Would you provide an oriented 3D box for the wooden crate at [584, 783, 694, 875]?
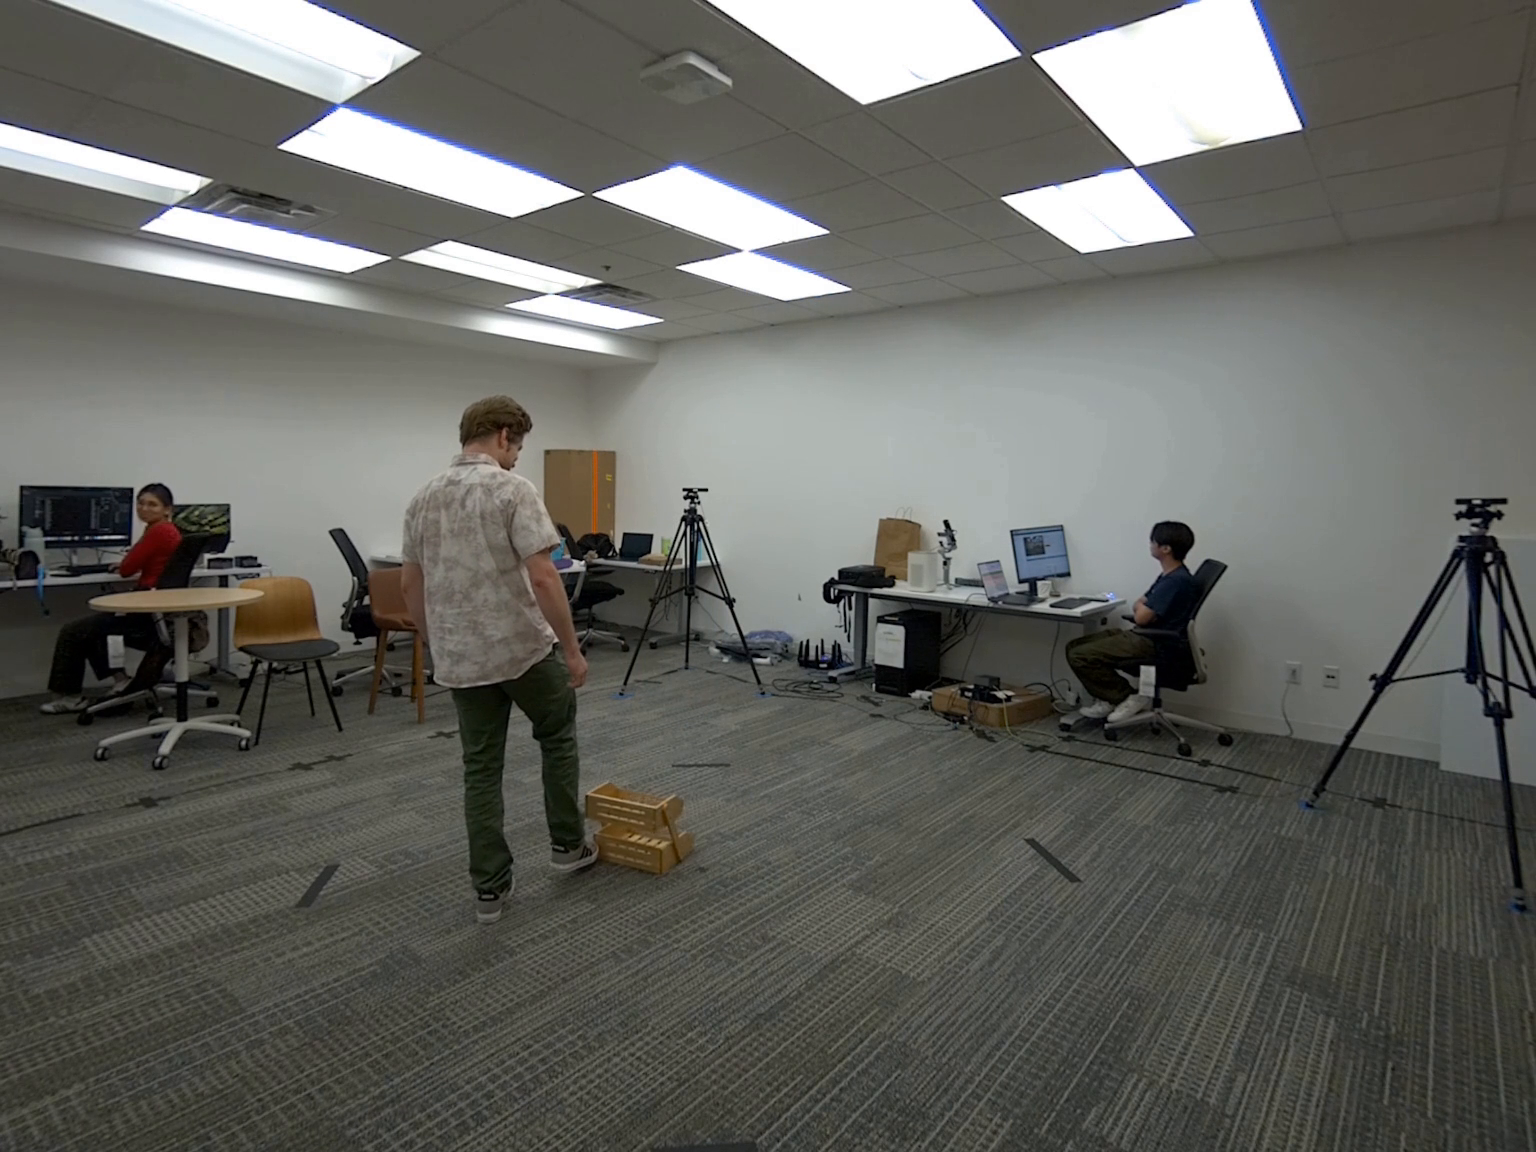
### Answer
[{"bbox_3d":[-0.488,0.922,3.207,0.333,0.272,0.295,3,5,24],"label":"wooden crate"}]
